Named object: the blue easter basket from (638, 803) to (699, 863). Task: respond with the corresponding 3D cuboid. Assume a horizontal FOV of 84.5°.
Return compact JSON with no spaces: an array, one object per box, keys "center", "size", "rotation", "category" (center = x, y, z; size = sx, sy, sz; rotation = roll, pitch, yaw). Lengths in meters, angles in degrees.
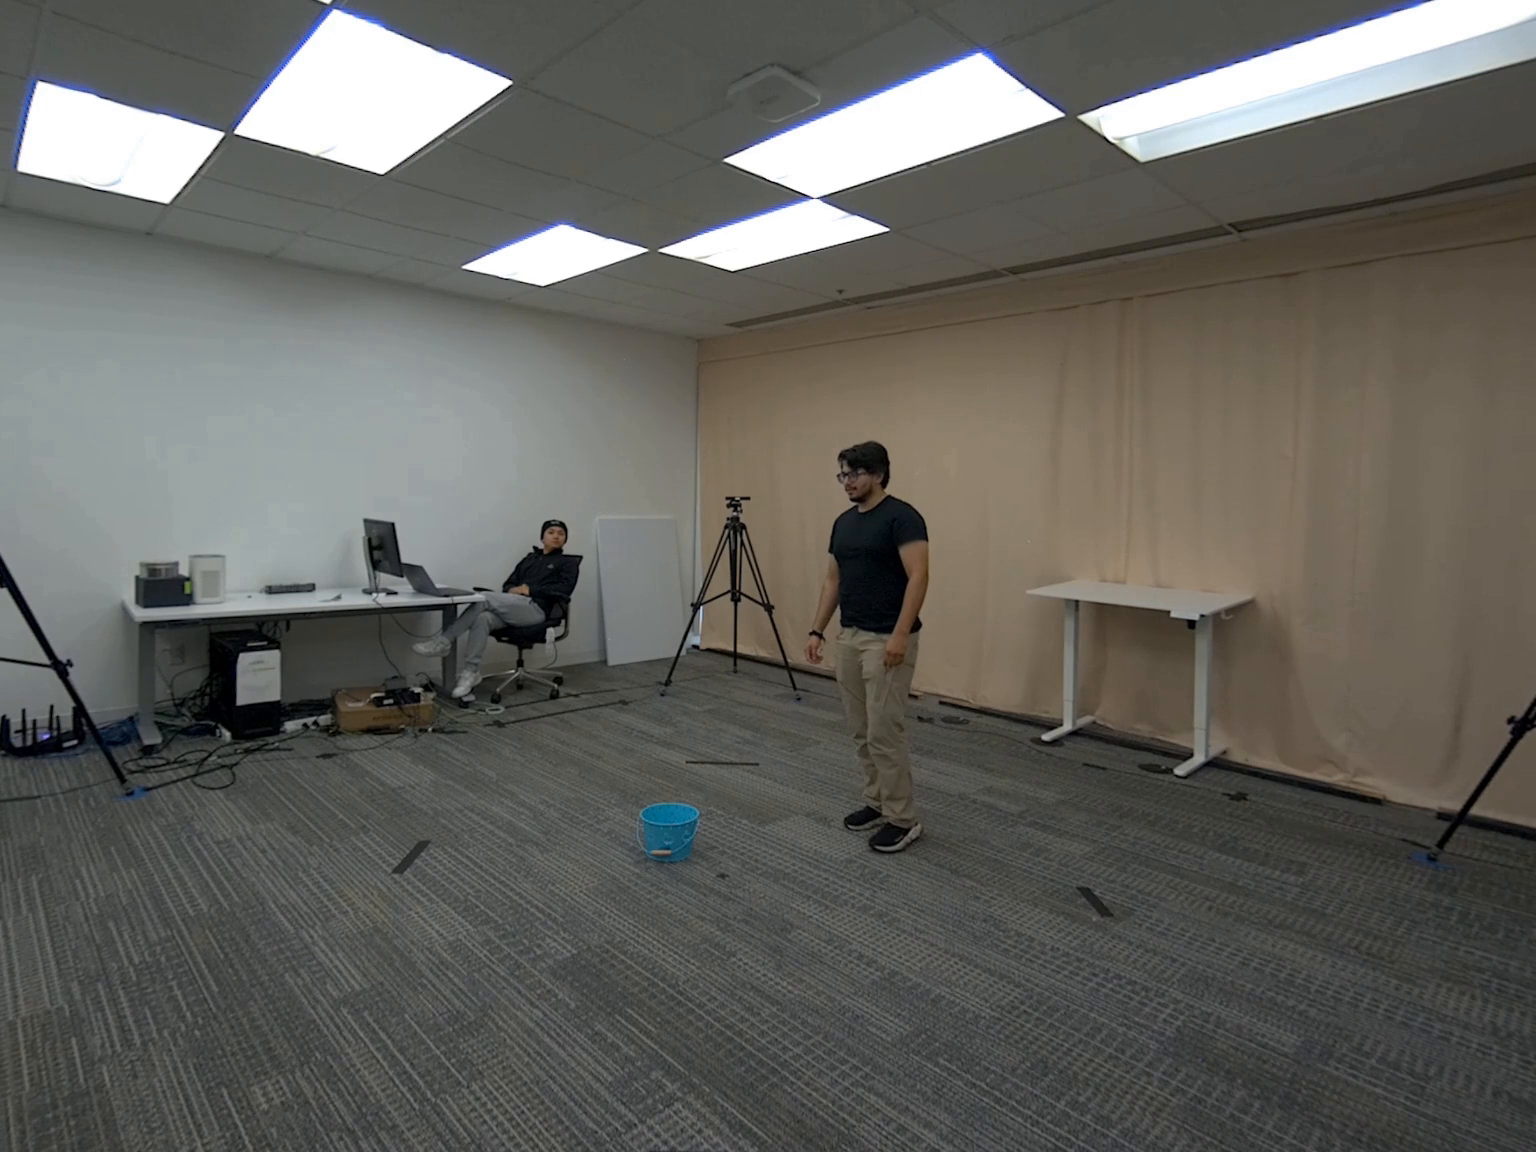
[{"center":[-0.395,1.005,3.298],"size":[0.243,0.155,0.244],"rotation":[1,5,-1],"category":"blue easter basket"}]
